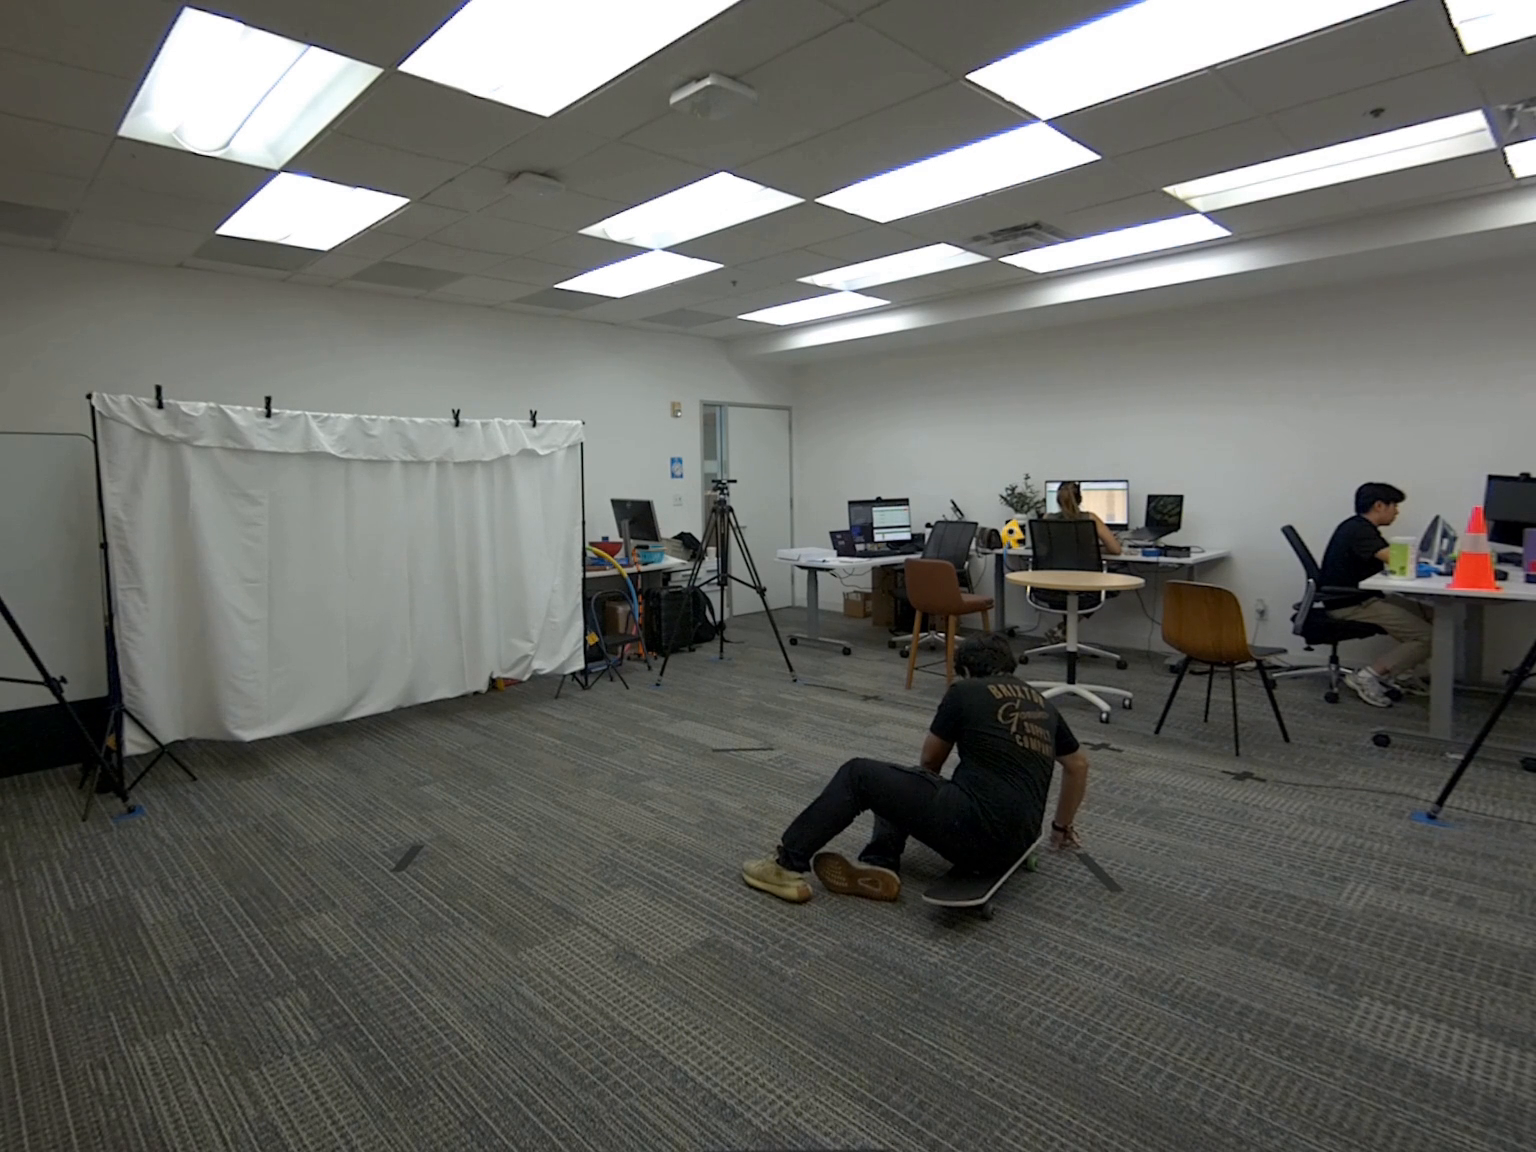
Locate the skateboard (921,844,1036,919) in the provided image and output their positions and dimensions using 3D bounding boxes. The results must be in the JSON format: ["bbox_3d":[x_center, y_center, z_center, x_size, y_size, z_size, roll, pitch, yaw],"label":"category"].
[{"bbox_3d":[0.740,0.993,2.903,0.198,0.110,0.766,-7,0,36],"label":"skateboard"}]
